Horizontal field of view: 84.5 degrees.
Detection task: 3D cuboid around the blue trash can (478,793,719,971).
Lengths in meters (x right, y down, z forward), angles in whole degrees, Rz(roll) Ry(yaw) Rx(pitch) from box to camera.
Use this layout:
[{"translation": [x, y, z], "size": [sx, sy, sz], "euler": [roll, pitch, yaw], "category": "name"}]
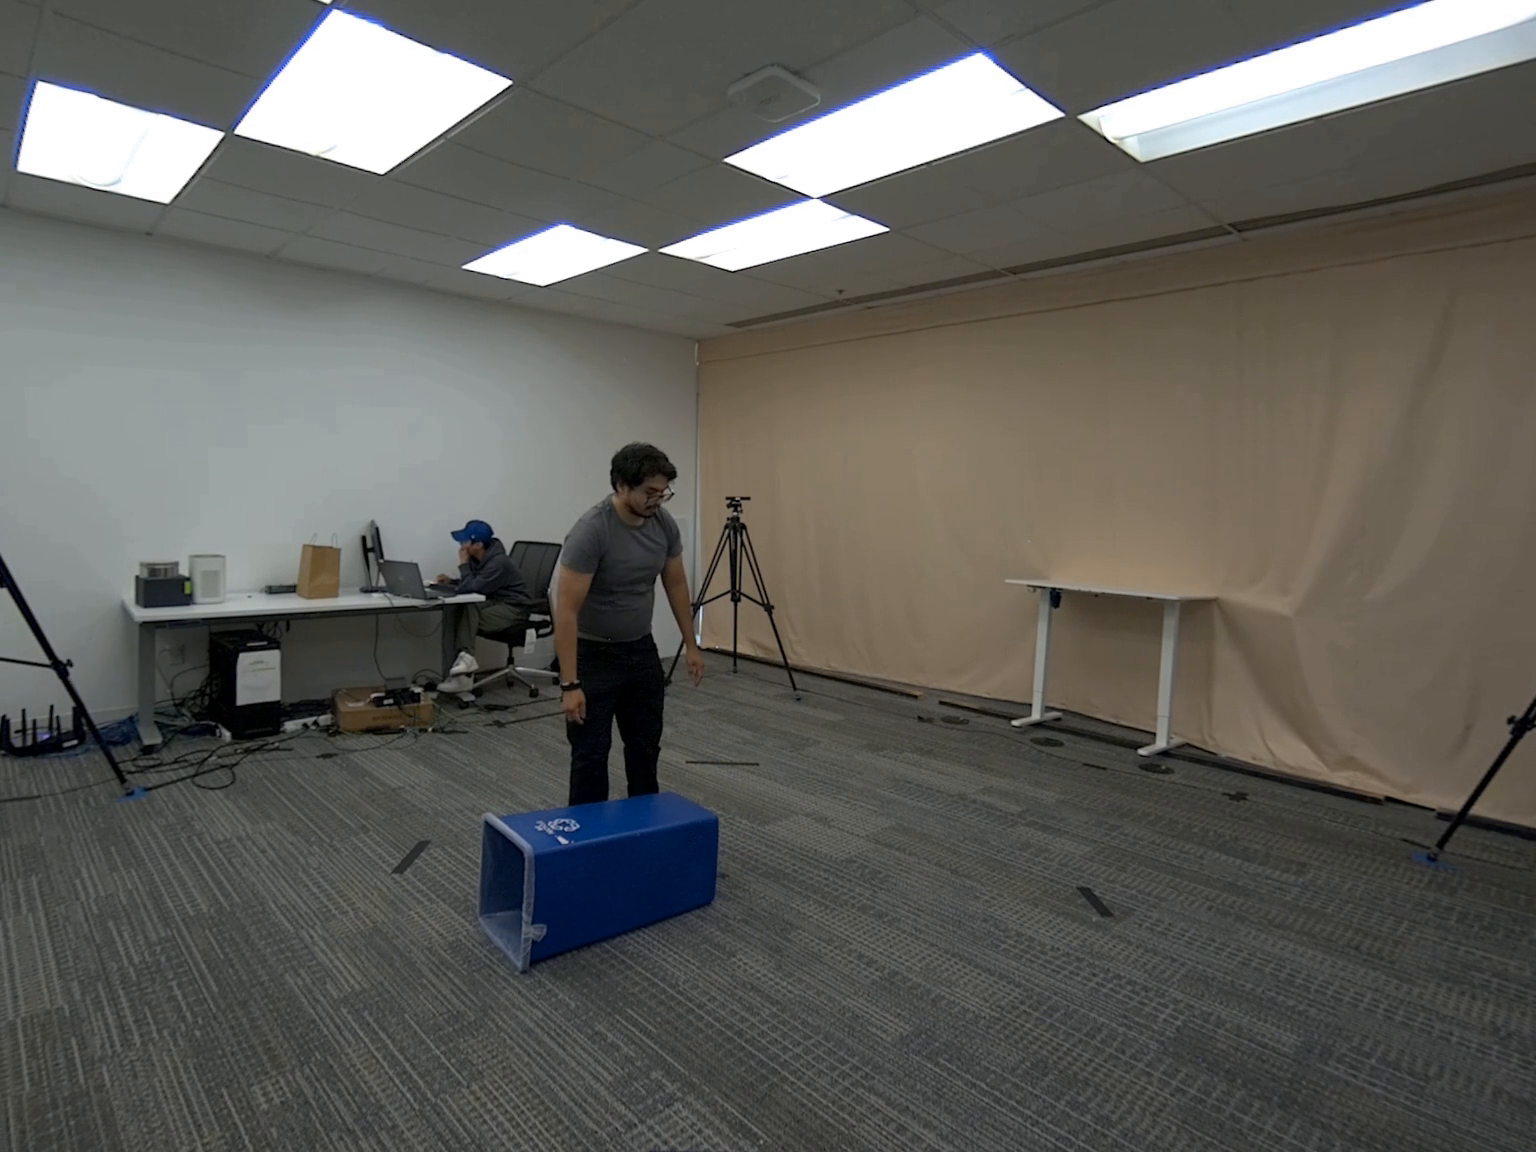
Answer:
[{"translation": [-0.551, 0.952, 2.778], "size": [0.697, 0.373, 0.387], "euler": [0, 4, -38], "category": "blue trash can"}]
